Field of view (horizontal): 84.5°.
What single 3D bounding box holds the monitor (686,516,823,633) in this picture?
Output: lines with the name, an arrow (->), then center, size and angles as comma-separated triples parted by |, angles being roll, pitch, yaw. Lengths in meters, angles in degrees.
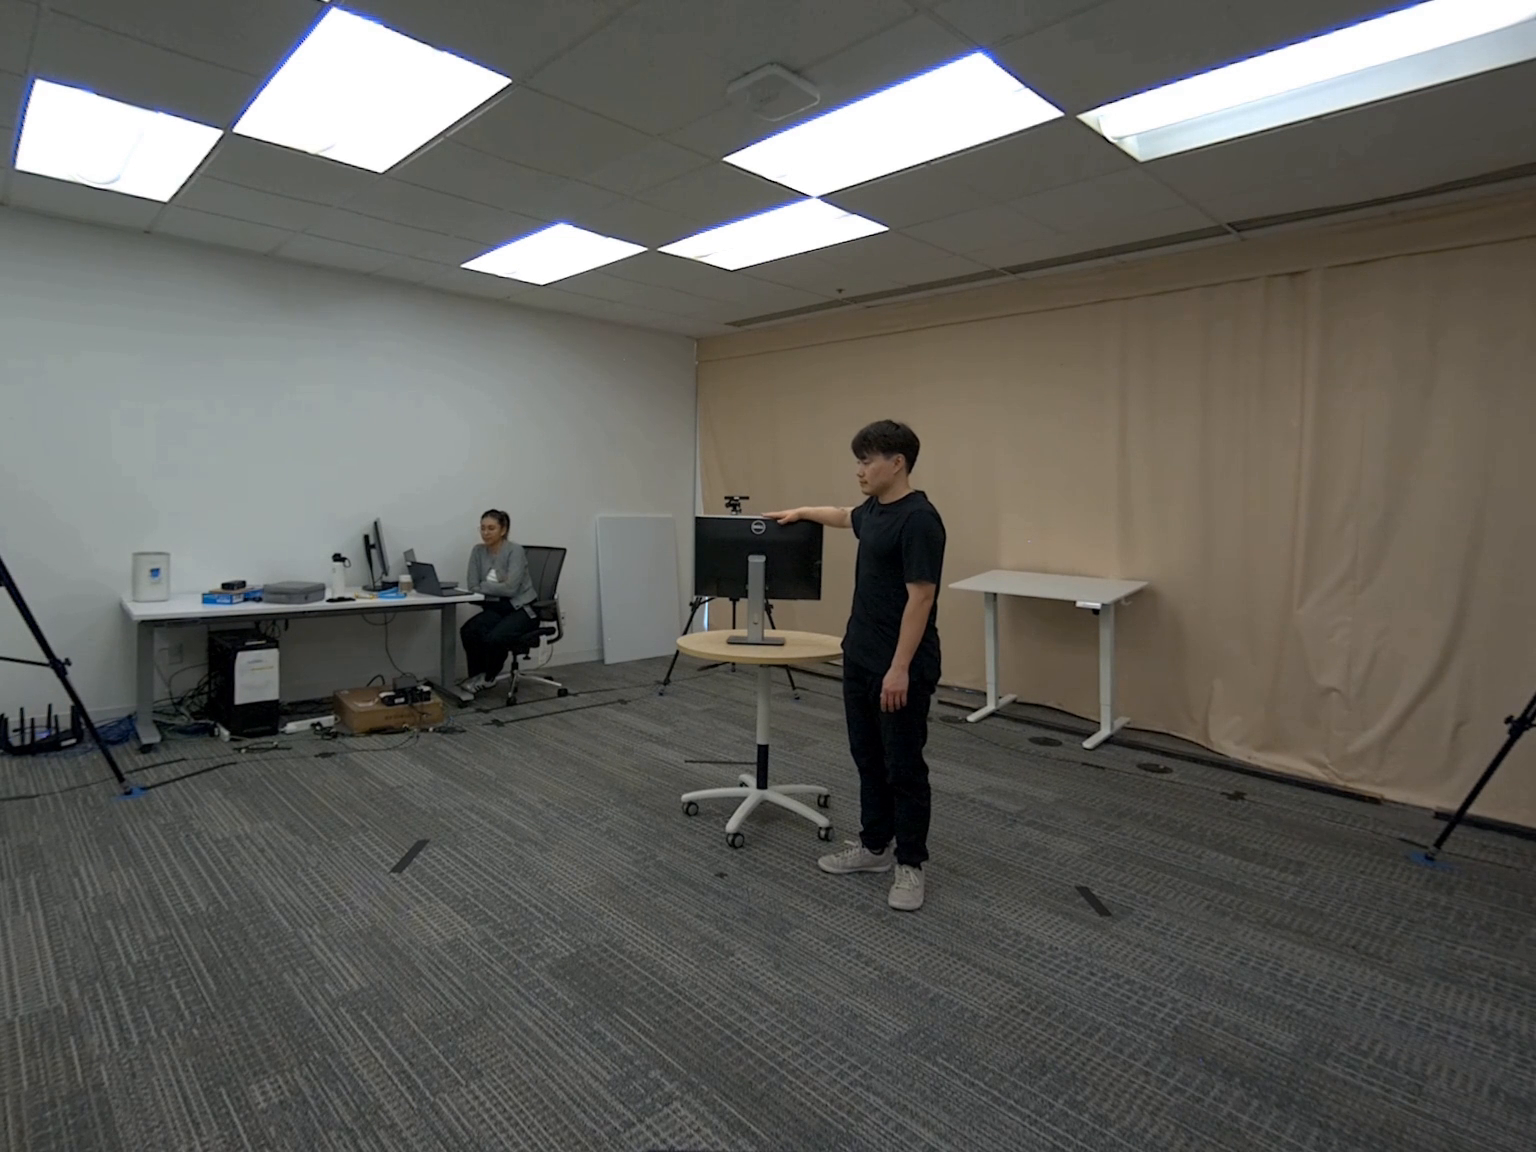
monitor -> -0.055, 0.021, 3.608 | 0.540, 0.522, 0.187 | 1, 1, 2
